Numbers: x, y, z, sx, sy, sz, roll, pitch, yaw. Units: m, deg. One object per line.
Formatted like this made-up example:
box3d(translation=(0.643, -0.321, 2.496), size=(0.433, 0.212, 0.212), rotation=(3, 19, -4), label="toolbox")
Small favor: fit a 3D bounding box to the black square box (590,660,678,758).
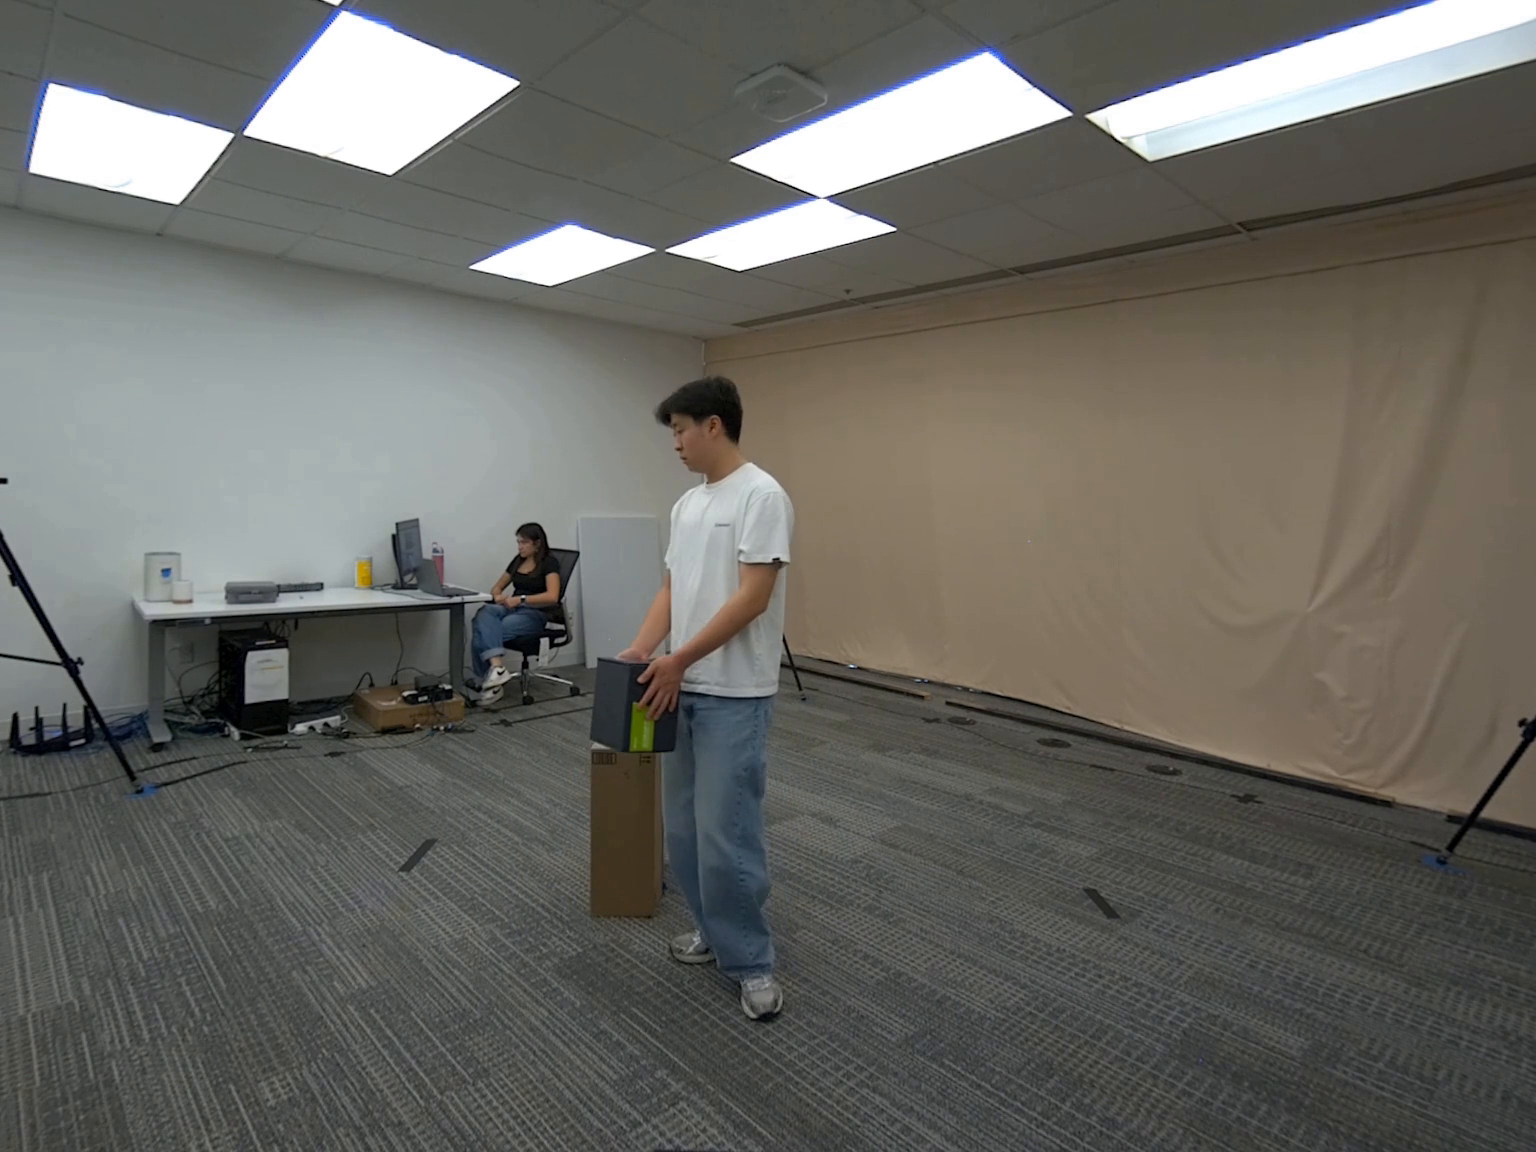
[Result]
box3d(translation=(-0.356, 0.351, 2.283), size=(0.152, 0.228, 0.221), rotation=(6, -5, -33), label="black square box")
